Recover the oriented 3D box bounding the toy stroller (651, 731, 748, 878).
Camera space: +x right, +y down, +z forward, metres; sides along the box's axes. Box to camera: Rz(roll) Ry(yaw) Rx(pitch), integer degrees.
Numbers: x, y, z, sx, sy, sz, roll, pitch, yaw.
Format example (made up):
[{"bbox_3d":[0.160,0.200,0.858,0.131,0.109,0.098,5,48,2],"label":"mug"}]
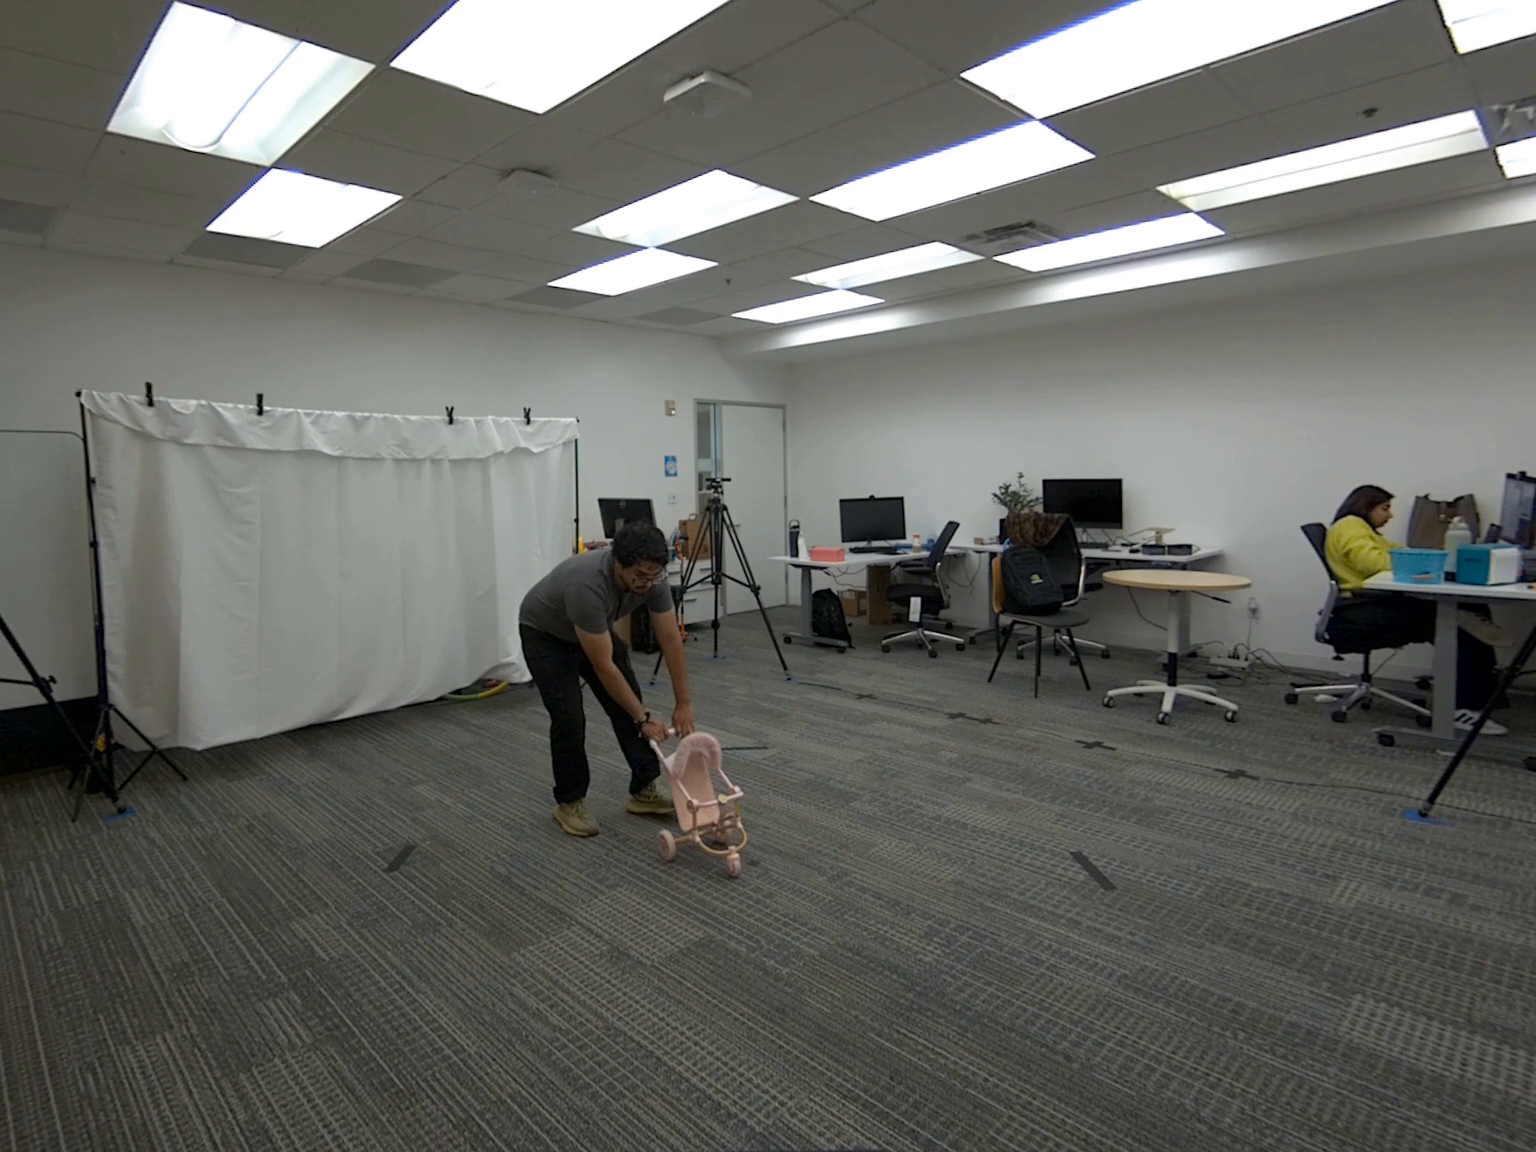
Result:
[{"bbox_3d":[-0.242,0.814,3.149,0.275,0.541,0.346,-4,-11,-33],"label":"toy stroller"}]
